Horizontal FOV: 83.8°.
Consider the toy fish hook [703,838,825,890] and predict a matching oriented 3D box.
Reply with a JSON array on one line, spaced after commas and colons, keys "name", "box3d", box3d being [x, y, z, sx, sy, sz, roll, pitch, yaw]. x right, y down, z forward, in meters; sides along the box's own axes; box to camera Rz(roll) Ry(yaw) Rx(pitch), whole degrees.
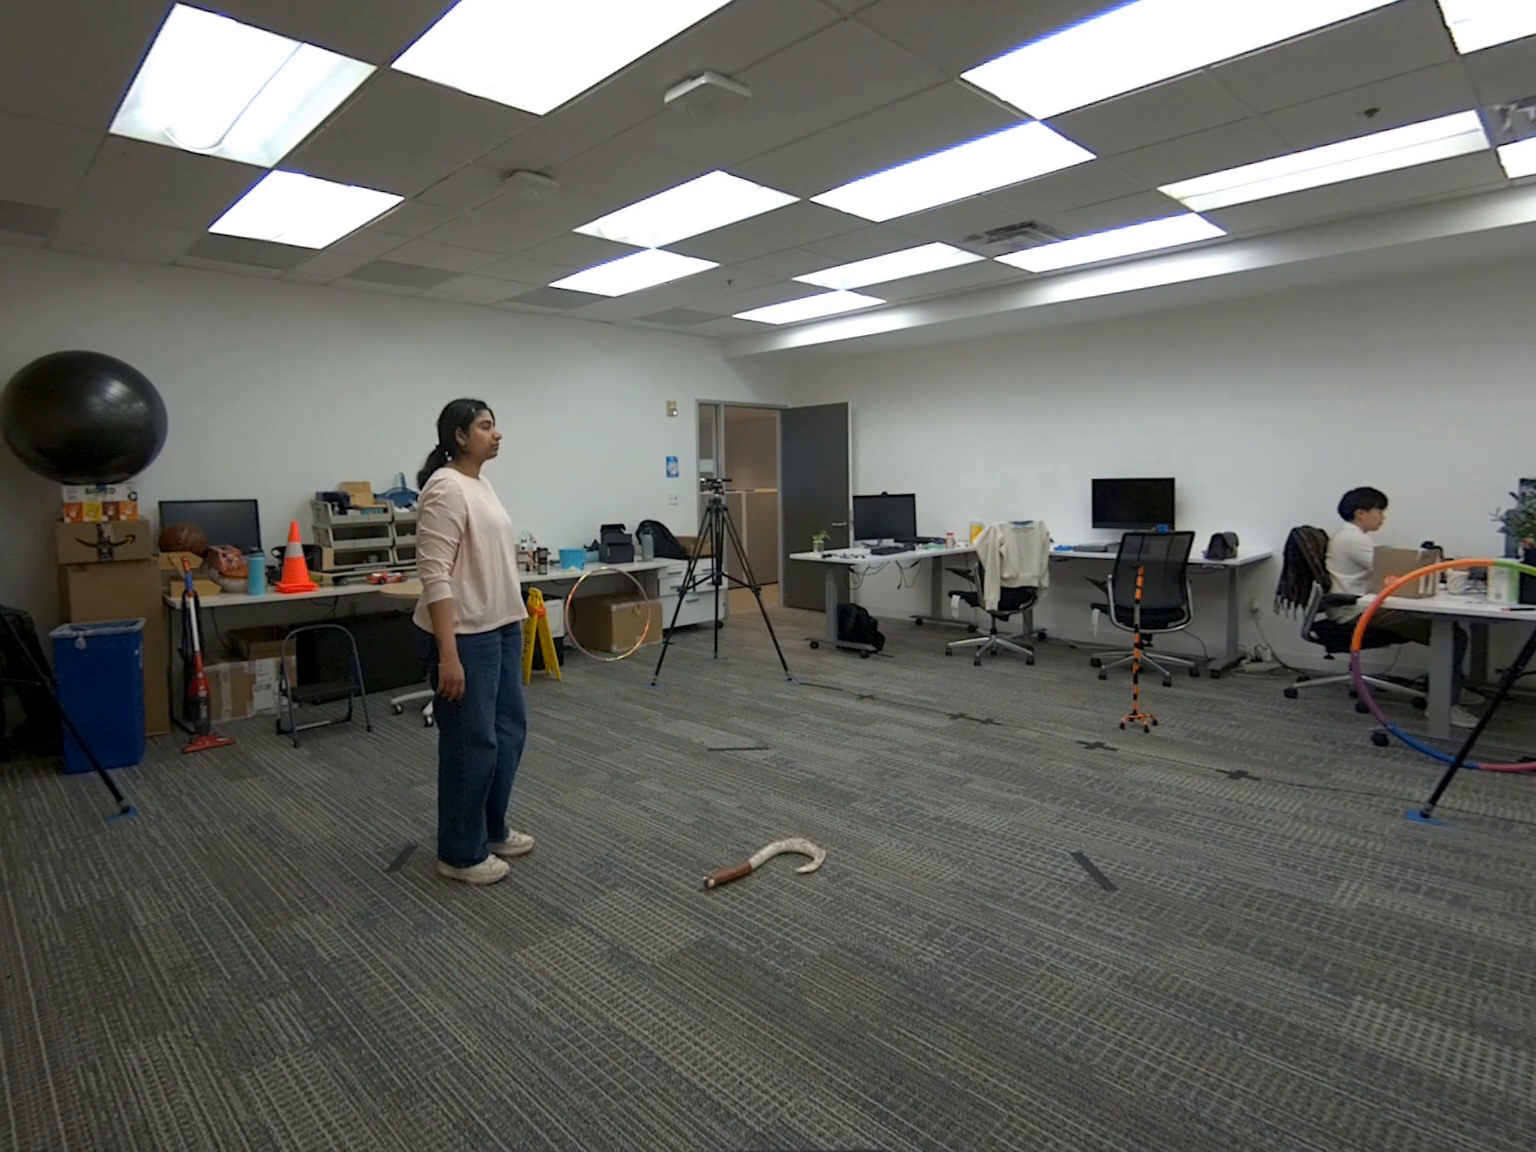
[{"name": "toy fish hook", "box3d": [0.000, 1.025, 3.025, 0.493, 0.048, 0.231, -7, 8, -42]}]
